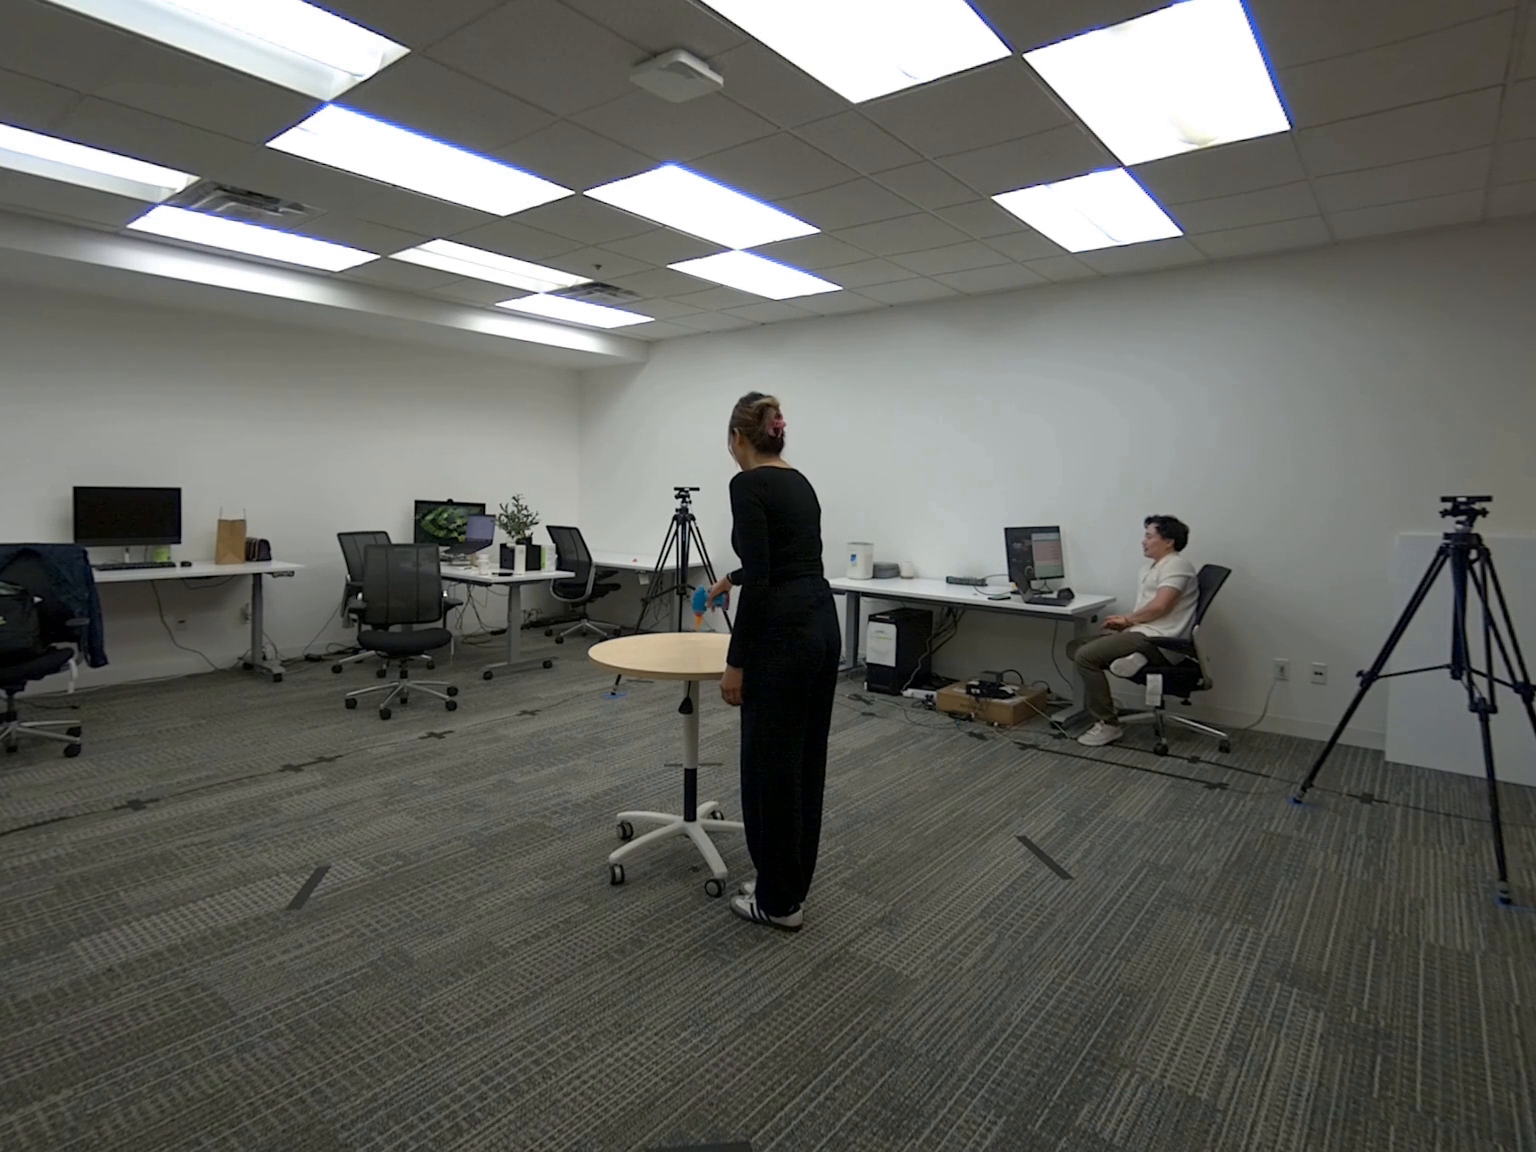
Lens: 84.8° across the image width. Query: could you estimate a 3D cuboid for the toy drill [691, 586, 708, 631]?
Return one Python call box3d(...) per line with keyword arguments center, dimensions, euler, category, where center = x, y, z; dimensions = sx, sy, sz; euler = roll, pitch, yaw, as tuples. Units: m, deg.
box3d(center=(-0.224, 0.129, 3.274), dimensions=(0.148, 0.170, 0.060), euler=(5, 1, 11), category="toy drill")
